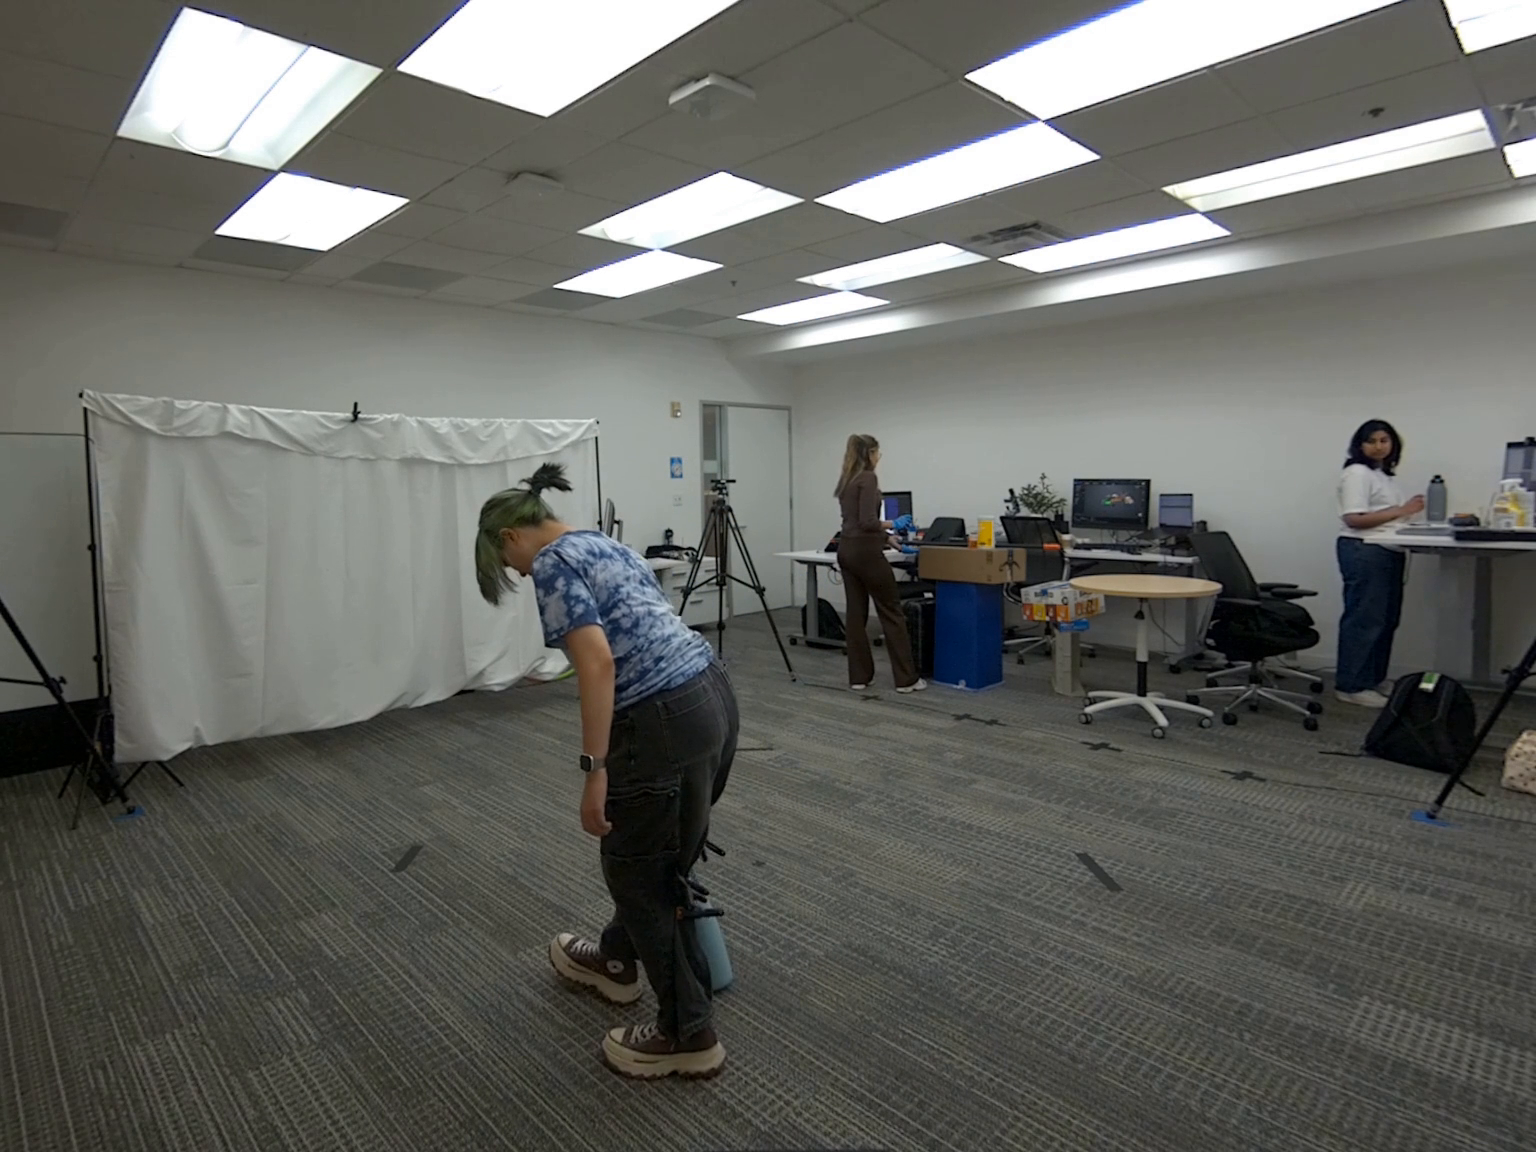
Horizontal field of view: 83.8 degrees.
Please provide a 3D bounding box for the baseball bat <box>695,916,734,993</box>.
[{"bbox_3d":[-0.206,0.878,2.363,0.089,0.544,0.089,-16,-2,-2],"label":"baseball bat"}]
